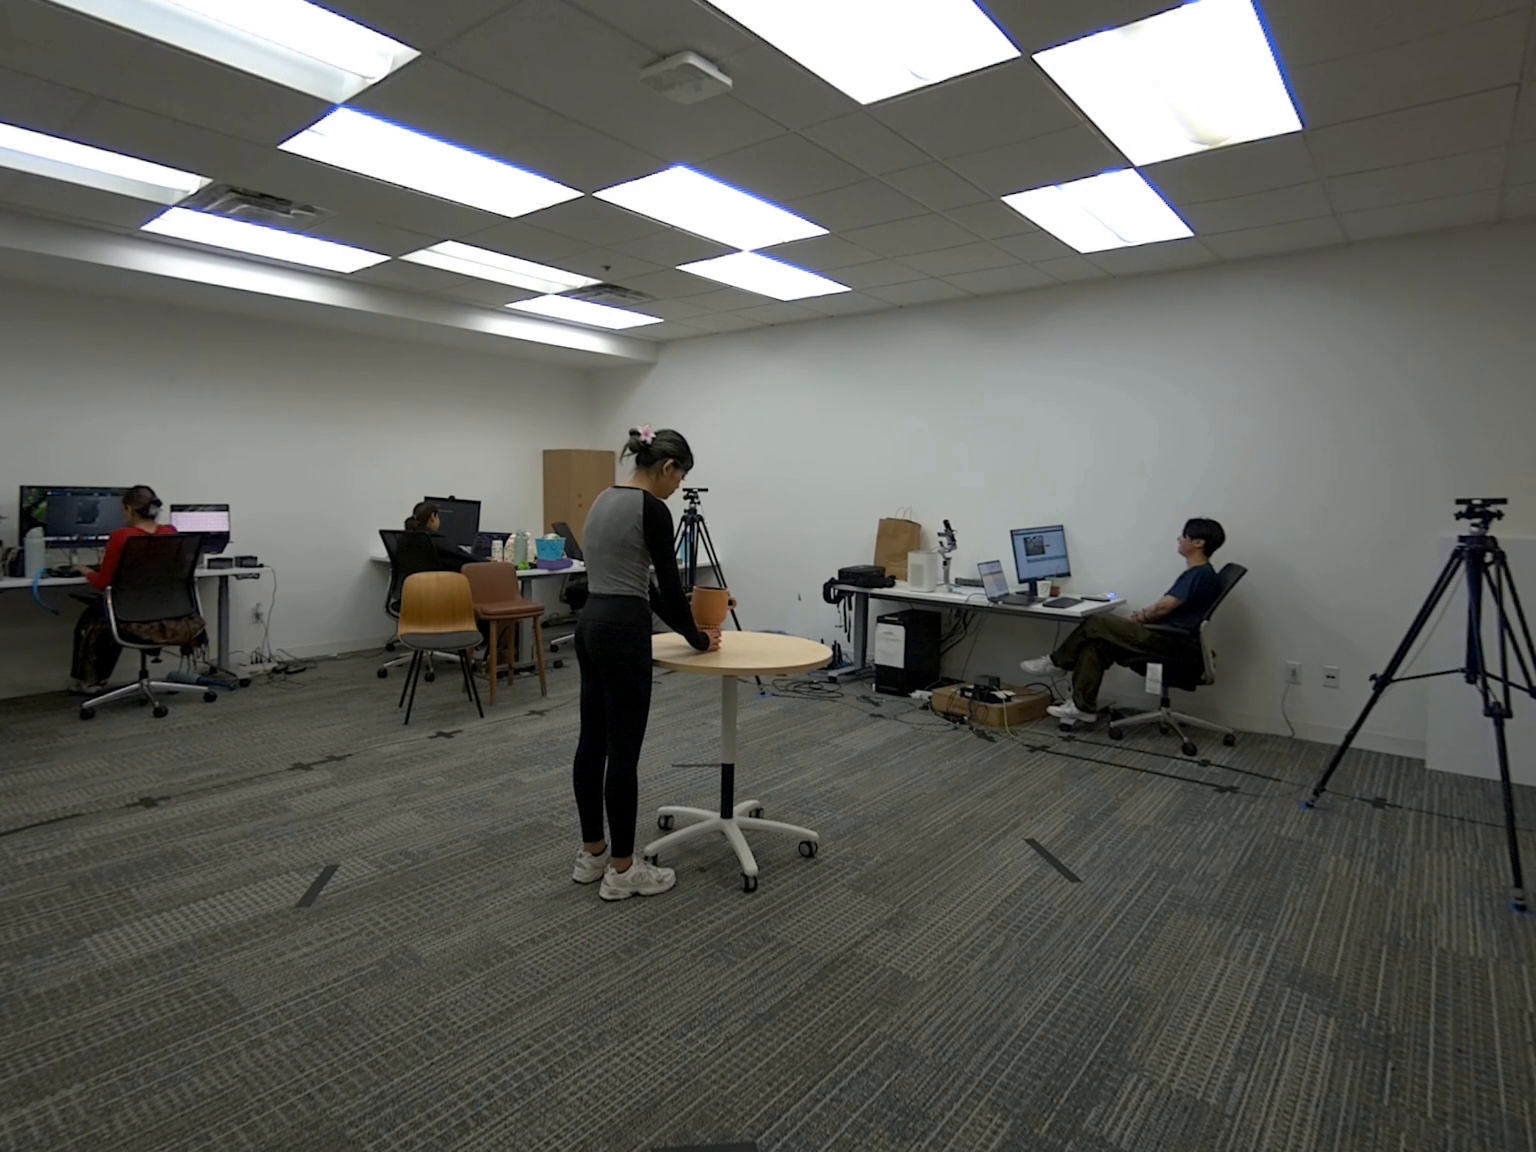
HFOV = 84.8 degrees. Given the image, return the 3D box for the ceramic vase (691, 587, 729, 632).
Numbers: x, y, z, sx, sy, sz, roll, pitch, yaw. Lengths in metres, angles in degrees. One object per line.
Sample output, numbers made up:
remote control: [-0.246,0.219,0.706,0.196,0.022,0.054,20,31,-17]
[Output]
ceramic vase: [-0.236,0.149,3.164,0.164,0.219,0.131,4,3,33]
